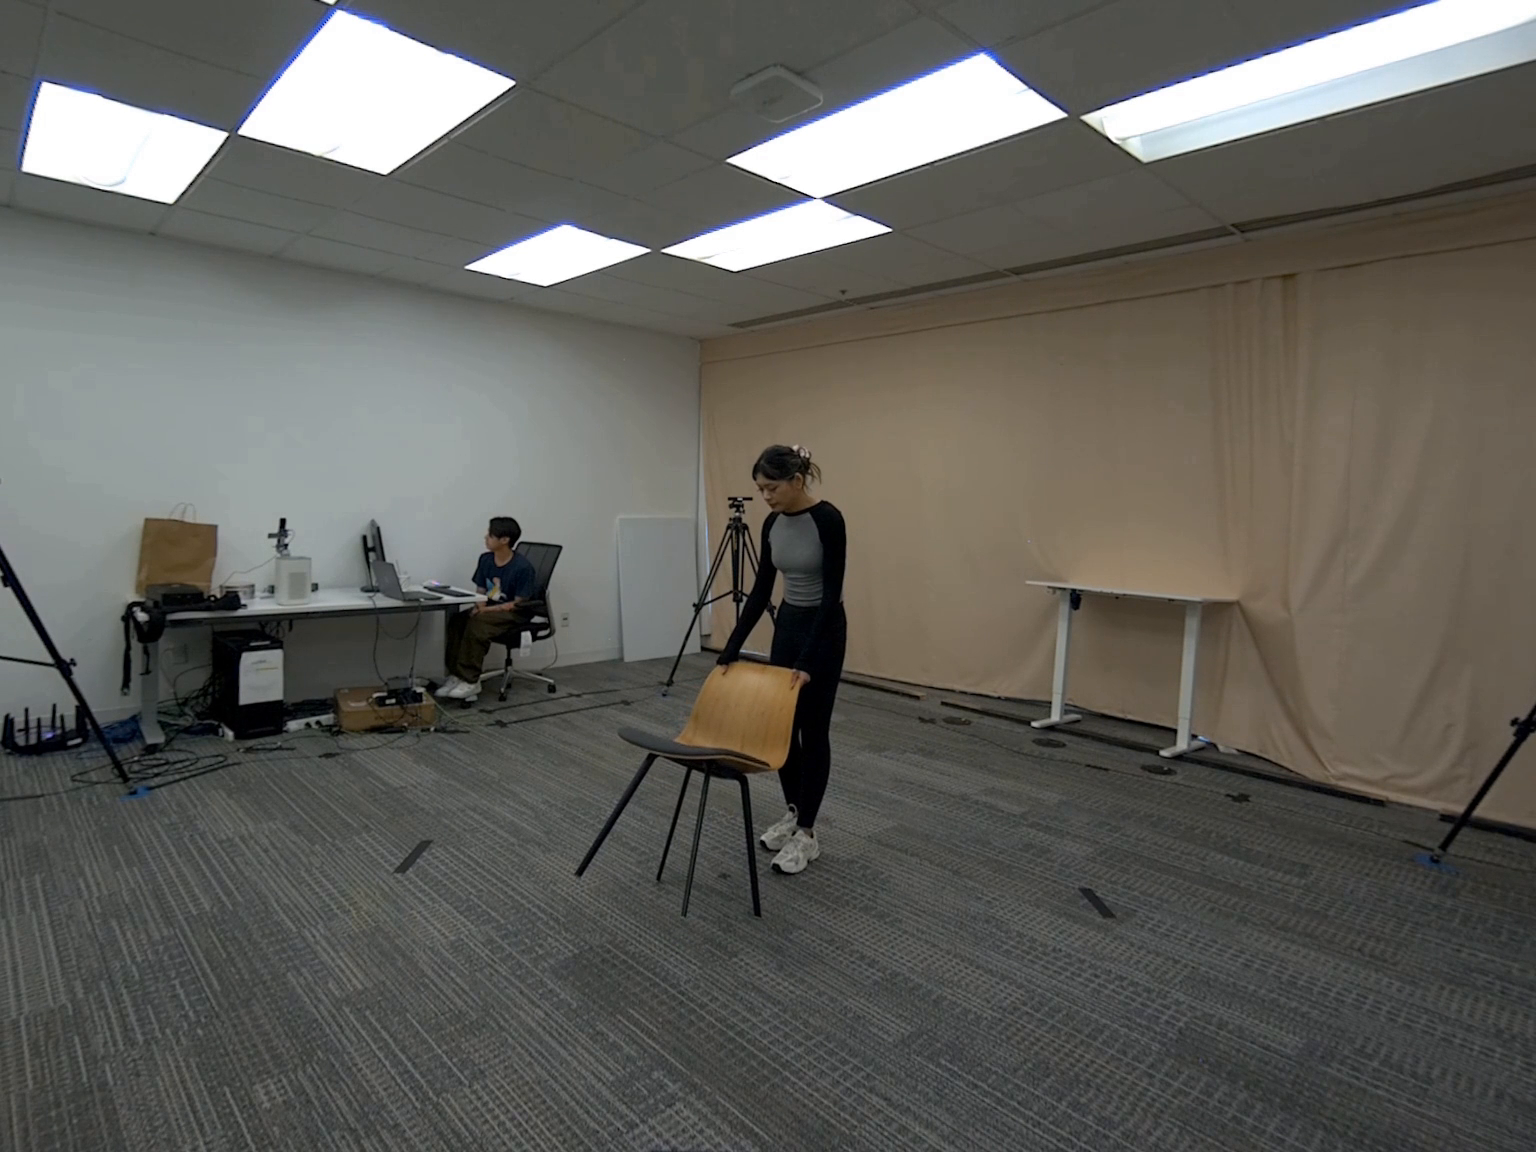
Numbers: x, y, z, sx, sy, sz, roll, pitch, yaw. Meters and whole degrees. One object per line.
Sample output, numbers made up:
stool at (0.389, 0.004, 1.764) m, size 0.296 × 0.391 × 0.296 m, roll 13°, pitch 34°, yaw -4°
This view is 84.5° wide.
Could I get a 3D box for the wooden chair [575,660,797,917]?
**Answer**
wooden chair at (-0.235, 0.650, 2.843) m, size 0.489 × 0.885 × 0.506 m, roll 4°, pitch -21°, yaw 34°
